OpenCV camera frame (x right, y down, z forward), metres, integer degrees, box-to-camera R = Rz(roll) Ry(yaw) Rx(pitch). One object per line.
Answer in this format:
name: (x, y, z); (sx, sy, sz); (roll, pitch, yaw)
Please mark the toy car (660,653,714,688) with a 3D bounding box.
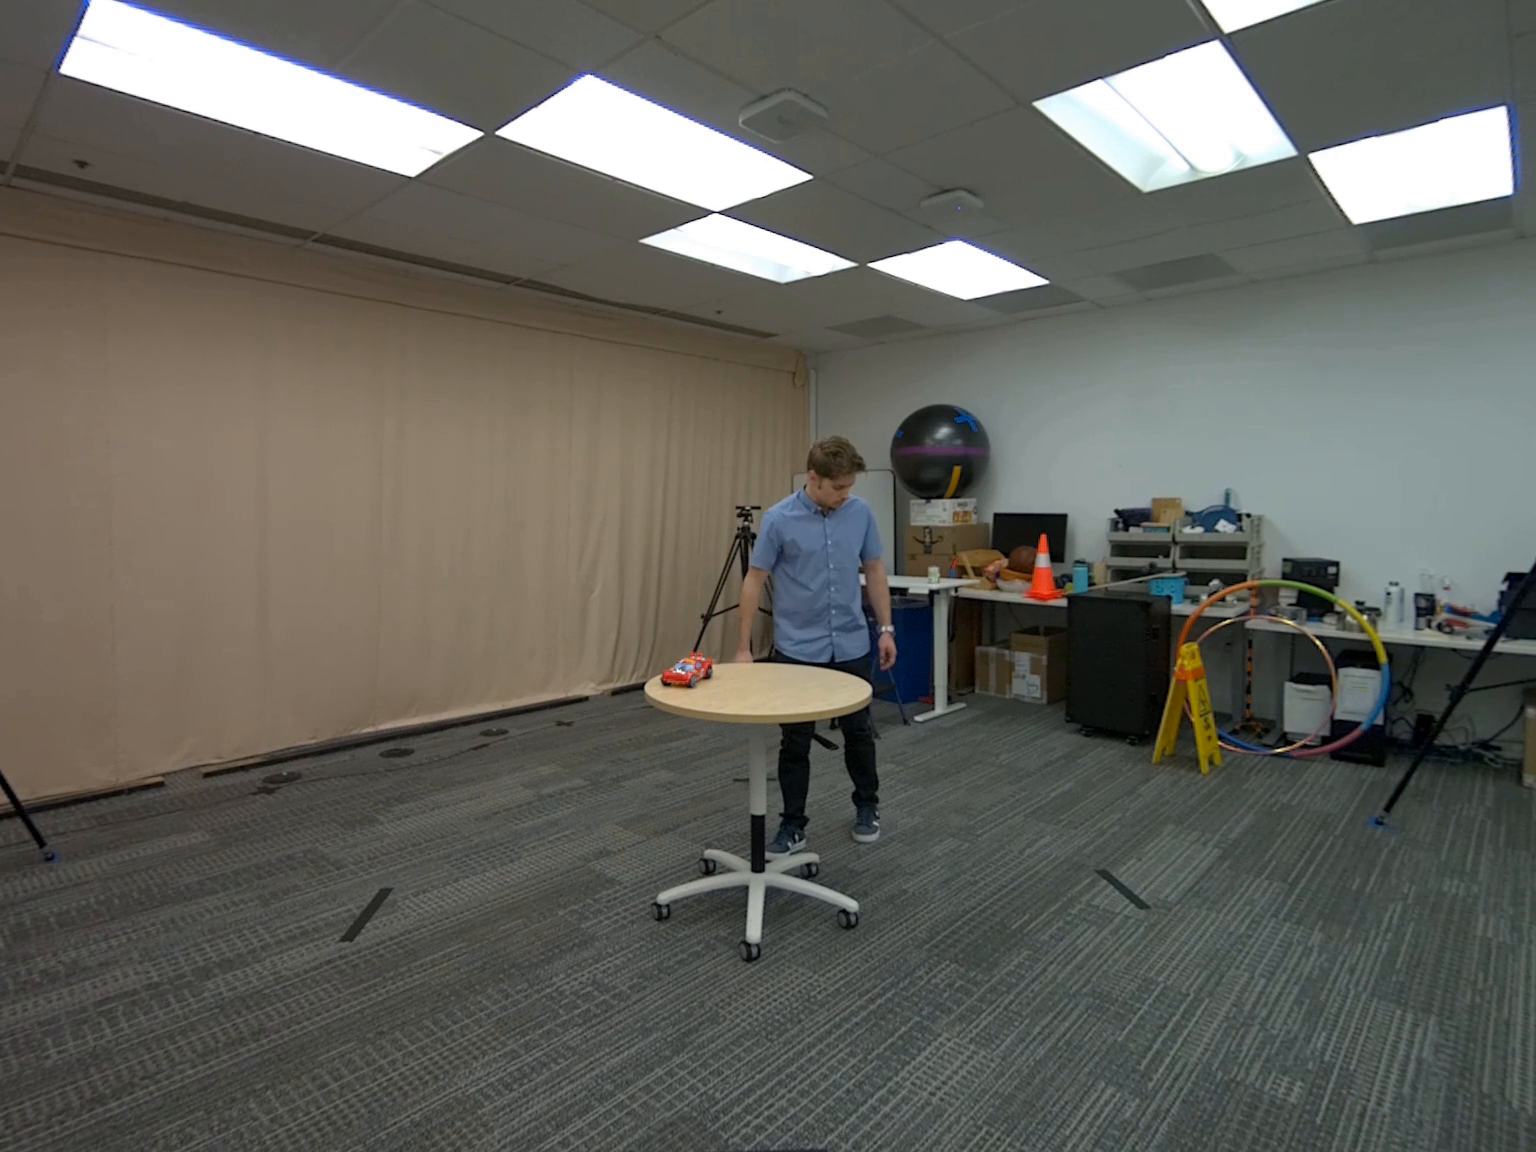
toy car: (-0.267, 0.334, 2.926); (0.133, 0.082, 0.252); (1, 17, 19)
